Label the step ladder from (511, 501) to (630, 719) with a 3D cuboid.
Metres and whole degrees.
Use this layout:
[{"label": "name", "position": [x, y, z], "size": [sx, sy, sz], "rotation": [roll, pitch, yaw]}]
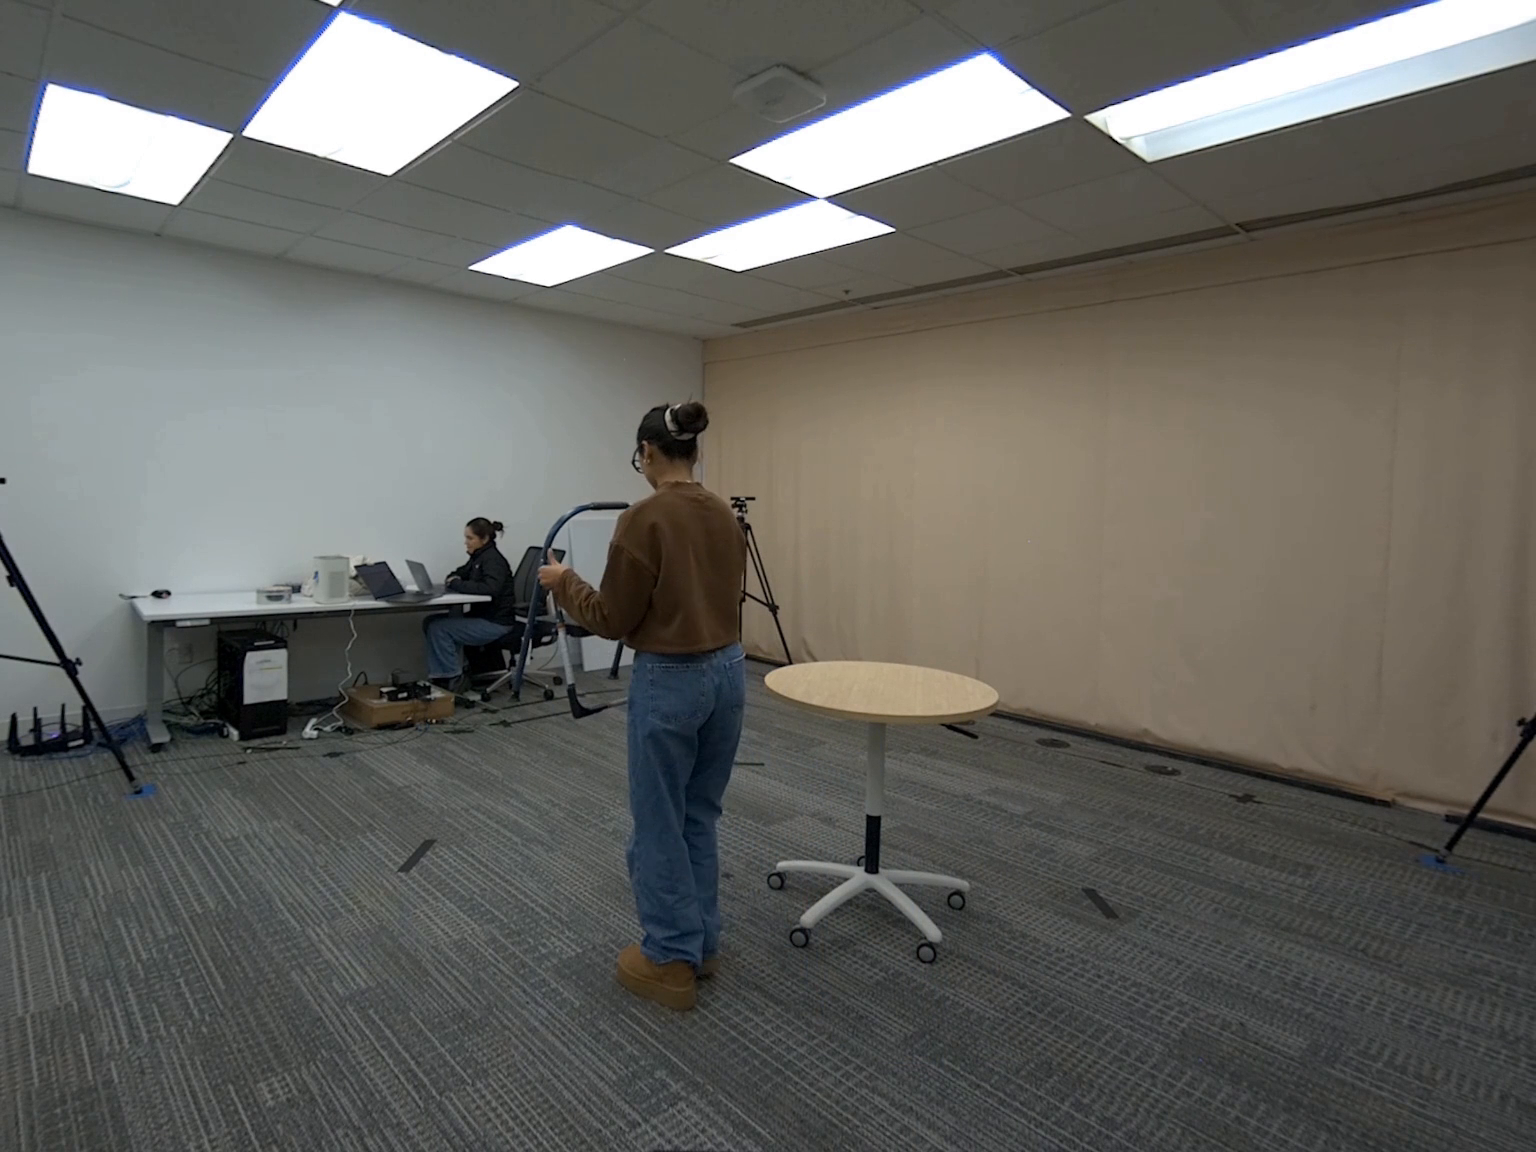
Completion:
[{"label": "step ladder", "position": [-0.536, 0.082, 2.600], "size": [0.358, 0.604, 0.421], "rotation": [2, 5, 40]}]
